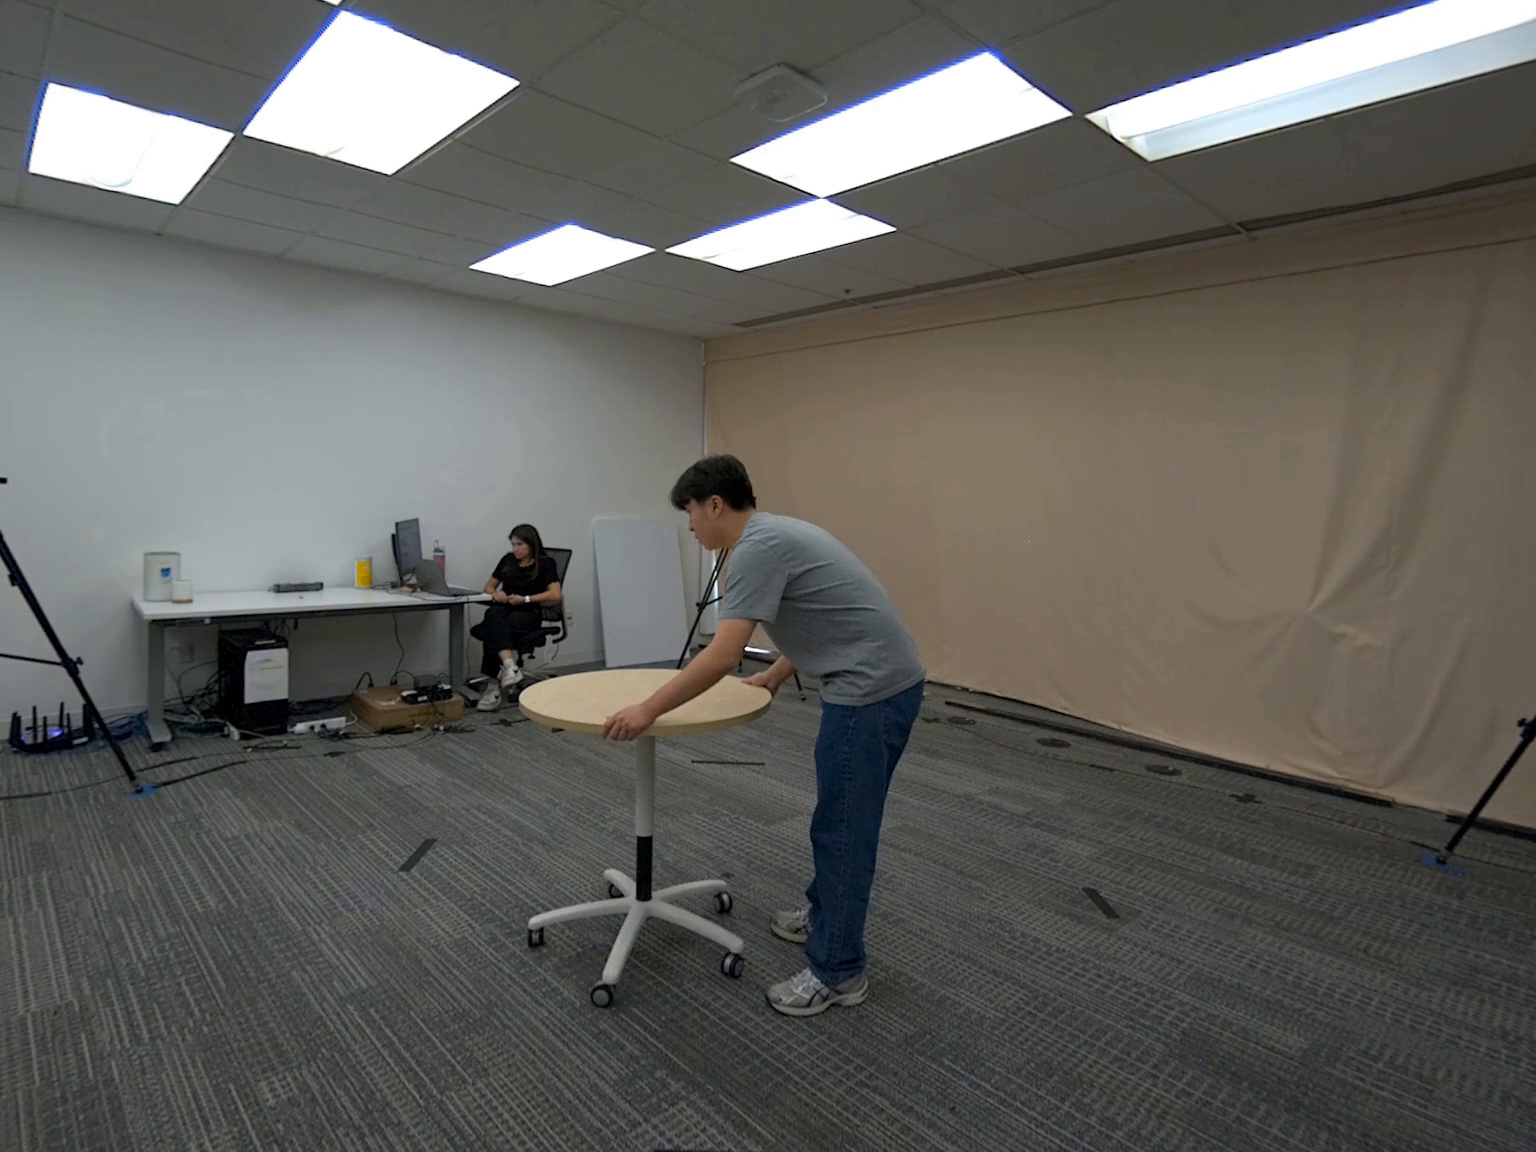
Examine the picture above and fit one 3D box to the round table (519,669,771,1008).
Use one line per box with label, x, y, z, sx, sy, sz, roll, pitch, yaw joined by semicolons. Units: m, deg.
round table;-0.381;0.754;2.615;0.763;0.792;0.767;1;4;-1
